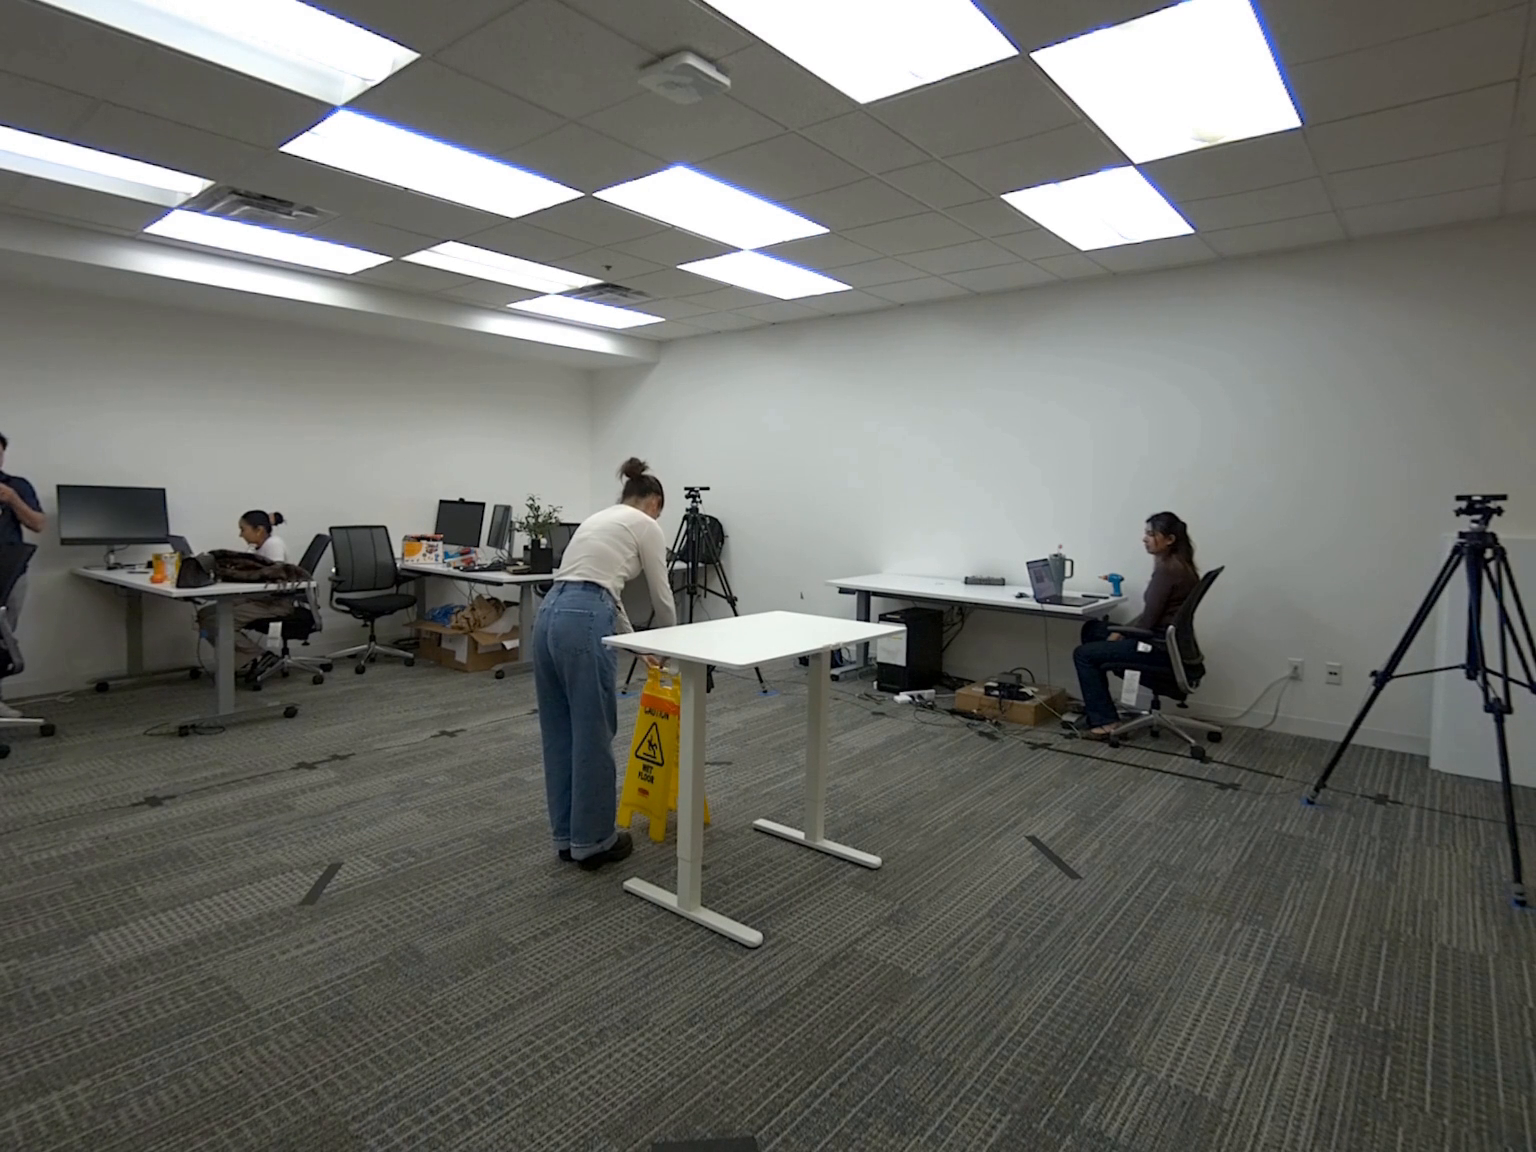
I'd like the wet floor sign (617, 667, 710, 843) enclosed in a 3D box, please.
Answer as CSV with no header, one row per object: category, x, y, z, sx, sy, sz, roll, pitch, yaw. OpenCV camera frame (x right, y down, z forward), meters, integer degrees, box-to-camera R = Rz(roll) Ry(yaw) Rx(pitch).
wet floor sign,-0.438,0.698,3.505,0.292,0.644,0.281,3,5,42
